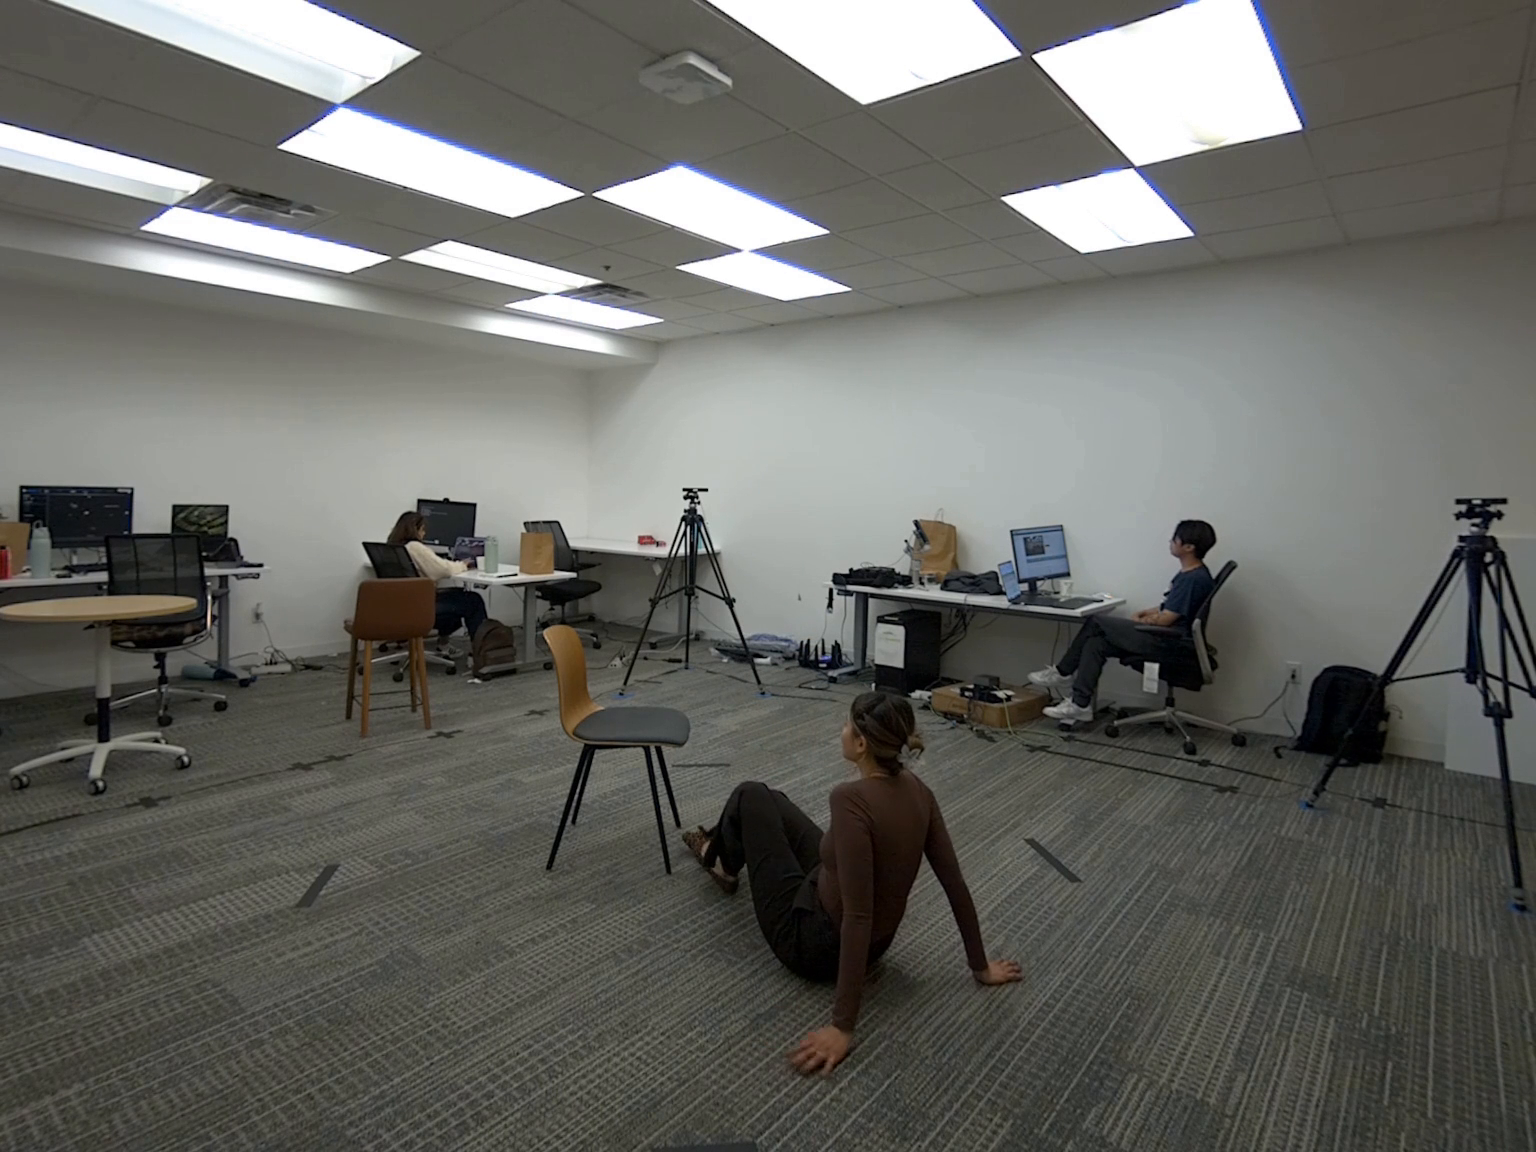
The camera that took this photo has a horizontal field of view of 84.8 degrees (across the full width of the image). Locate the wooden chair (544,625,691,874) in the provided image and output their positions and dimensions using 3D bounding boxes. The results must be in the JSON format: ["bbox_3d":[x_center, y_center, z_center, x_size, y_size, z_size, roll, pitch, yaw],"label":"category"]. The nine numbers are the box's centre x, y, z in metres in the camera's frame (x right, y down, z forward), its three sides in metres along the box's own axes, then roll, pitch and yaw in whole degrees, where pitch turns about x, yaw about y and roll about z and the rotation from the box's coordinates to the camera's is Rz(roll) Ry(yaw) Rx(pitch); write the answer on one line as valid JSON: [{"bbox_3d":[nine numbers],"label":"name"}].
[{"bbox_3d":[-0.578,0.620,3.266,0.524,0.875,0.478,-3,2,1],"label":"wooden chair"}]
